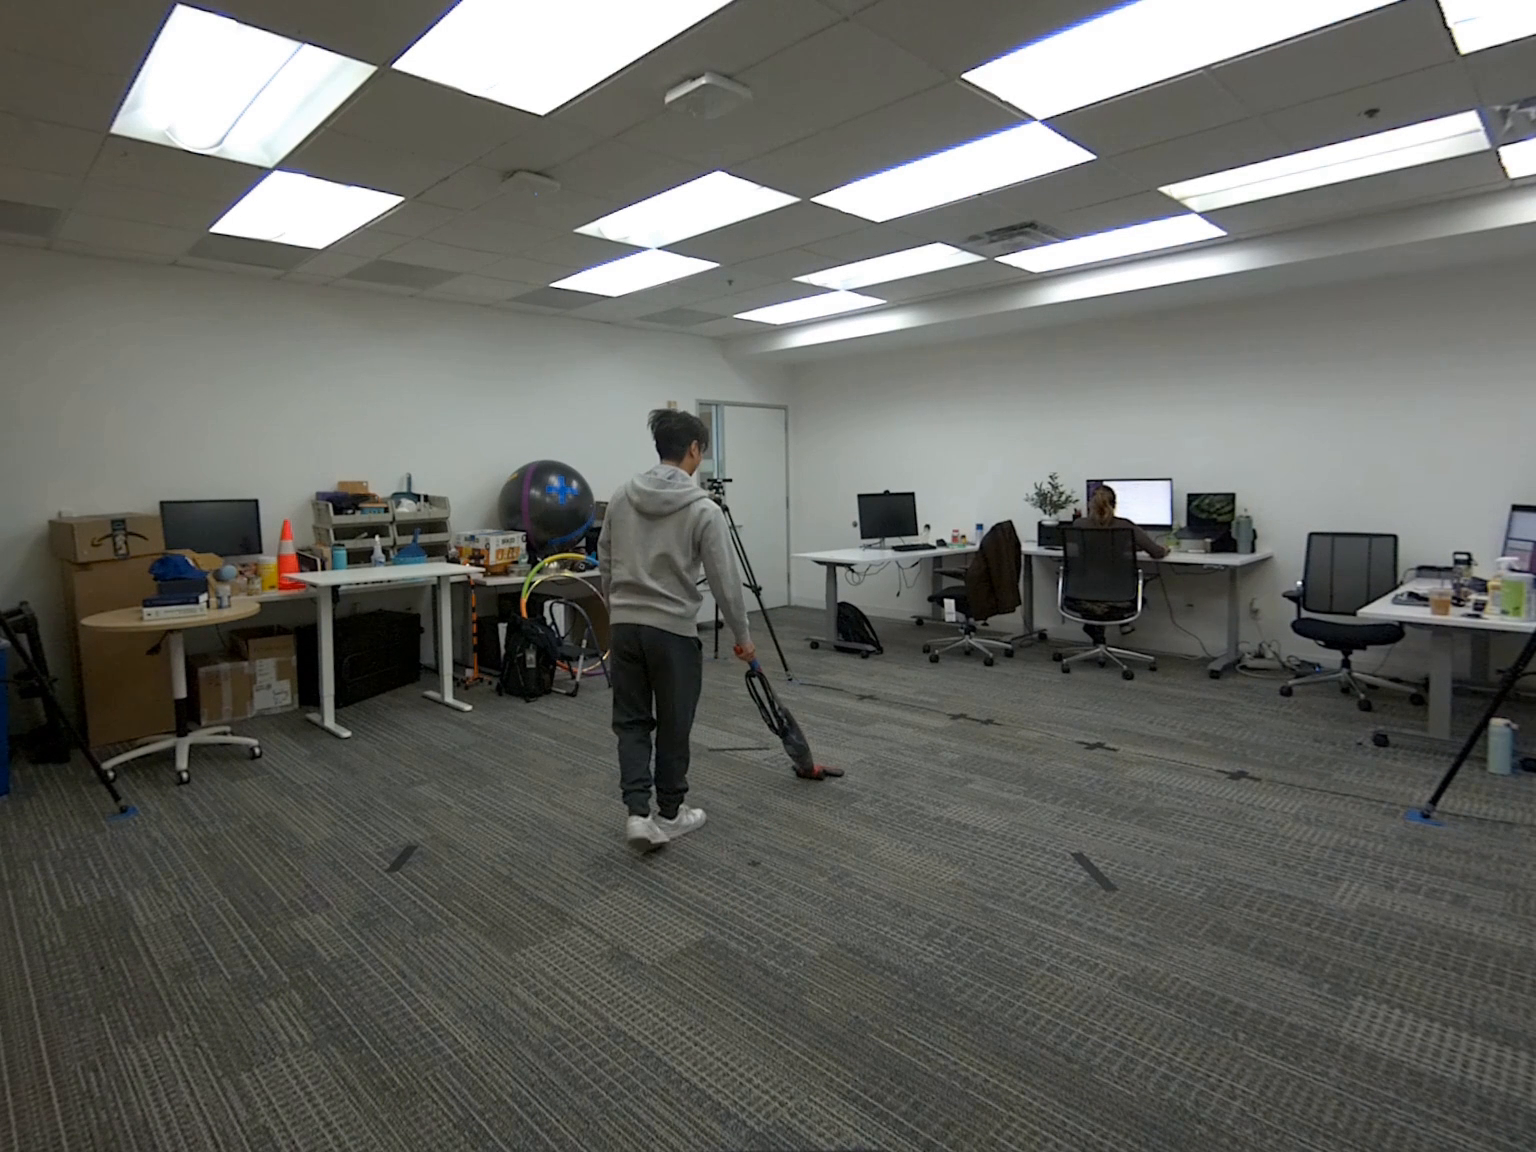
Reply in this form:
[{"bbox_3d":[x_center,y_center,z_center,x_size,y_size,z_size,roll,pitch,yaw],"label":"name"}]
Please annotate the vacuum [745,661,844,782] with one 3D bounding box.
[{"bbox_3d":[0.044,0.611,3.674,0.259,0.146,1.010,1,-38,27],"label":"vacuum"}]
